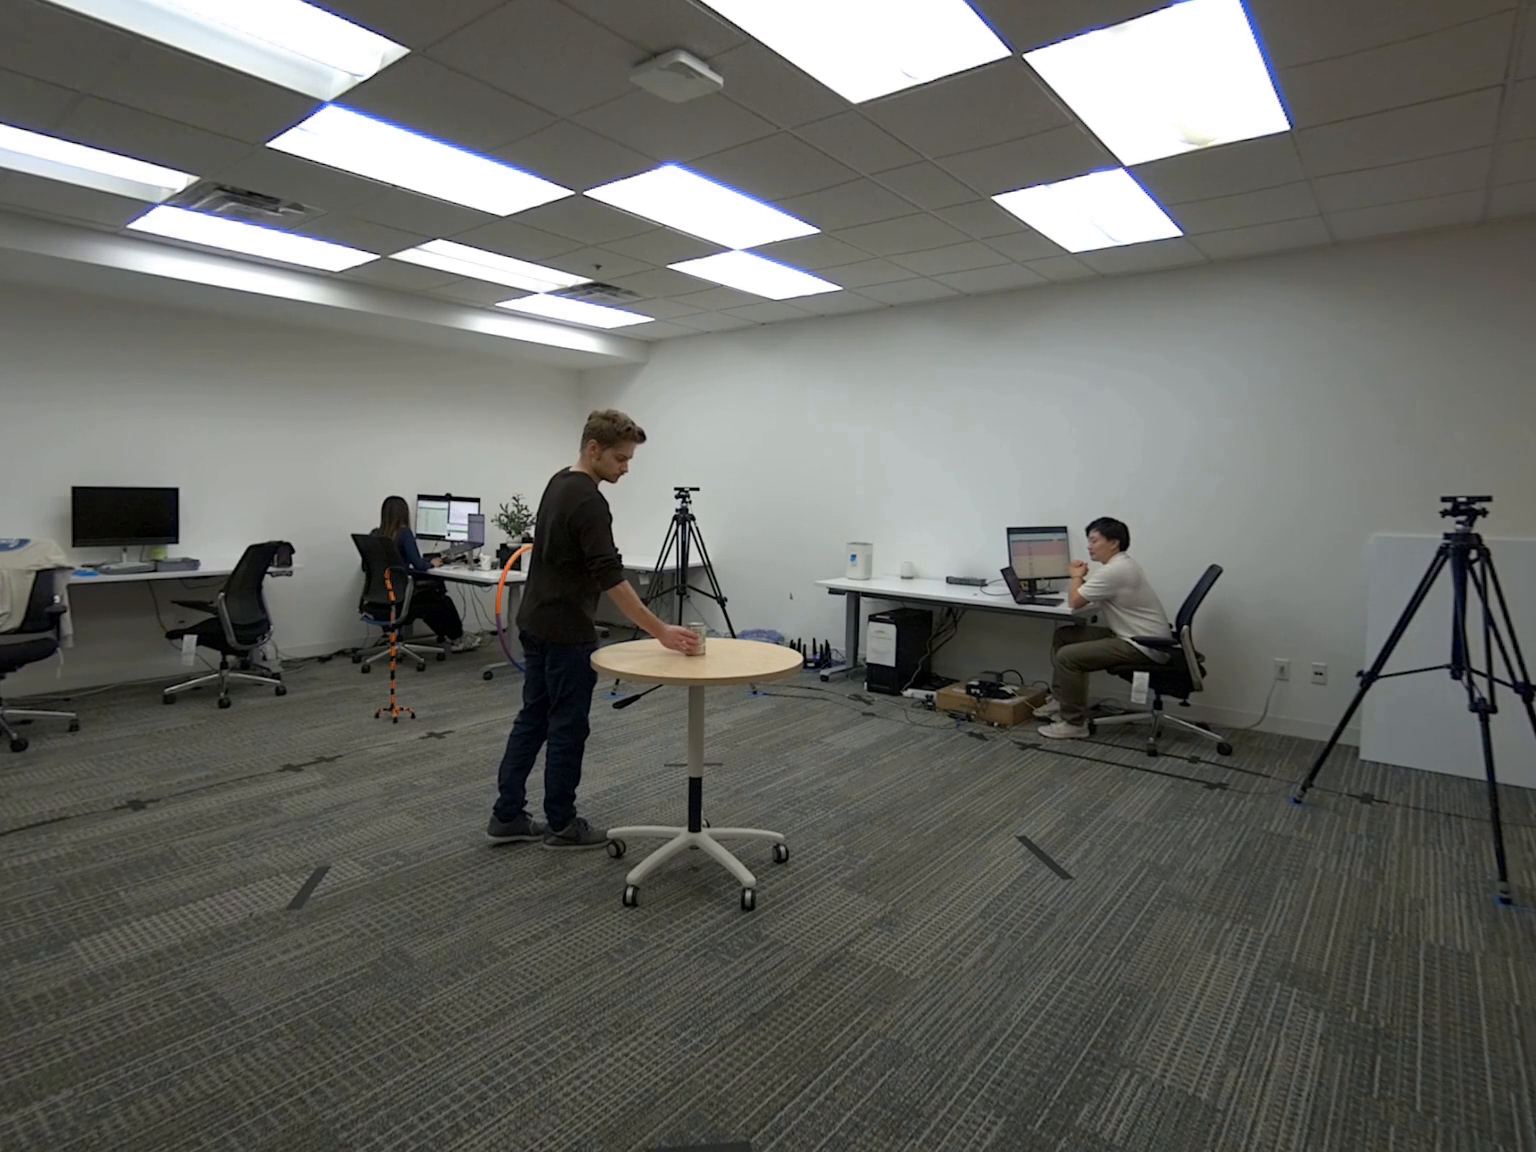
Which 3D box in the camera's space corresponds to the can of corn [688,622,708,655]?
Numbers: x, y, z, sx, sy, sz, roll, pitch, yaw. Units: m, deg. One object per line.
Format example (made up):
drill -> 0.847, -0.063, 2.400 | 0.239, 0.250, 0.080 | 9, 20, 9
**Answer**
can of corn -> -0.270, 0.228, 3.088 | 0.074, 0.111, 0.074 | 0, 4, -2
